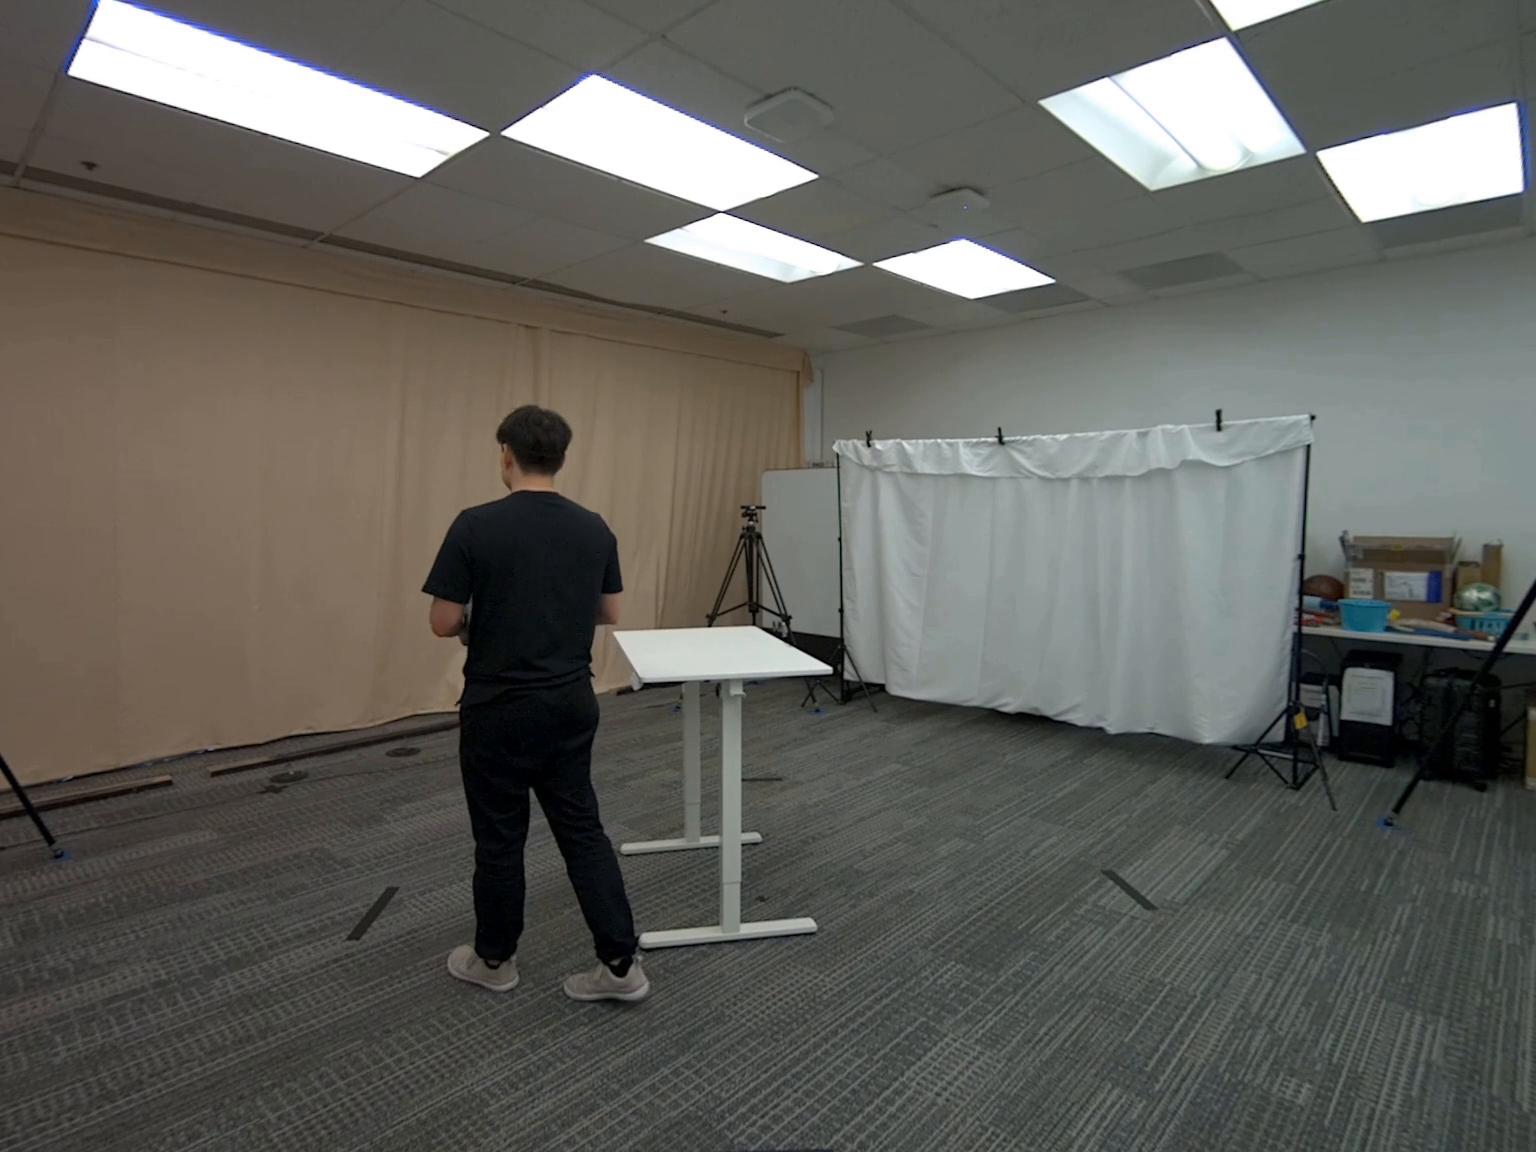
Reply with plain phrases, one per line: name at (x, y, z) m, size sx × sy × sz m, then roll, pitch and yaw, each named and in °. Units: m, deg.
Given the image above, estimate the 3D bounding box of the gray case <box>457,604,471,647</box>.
gray case at (-0.862, 0.090, 2.643) m, size 0.249 × 0.104 × 0.268 m, roll 1°, pitch 45°, yaw -37°
